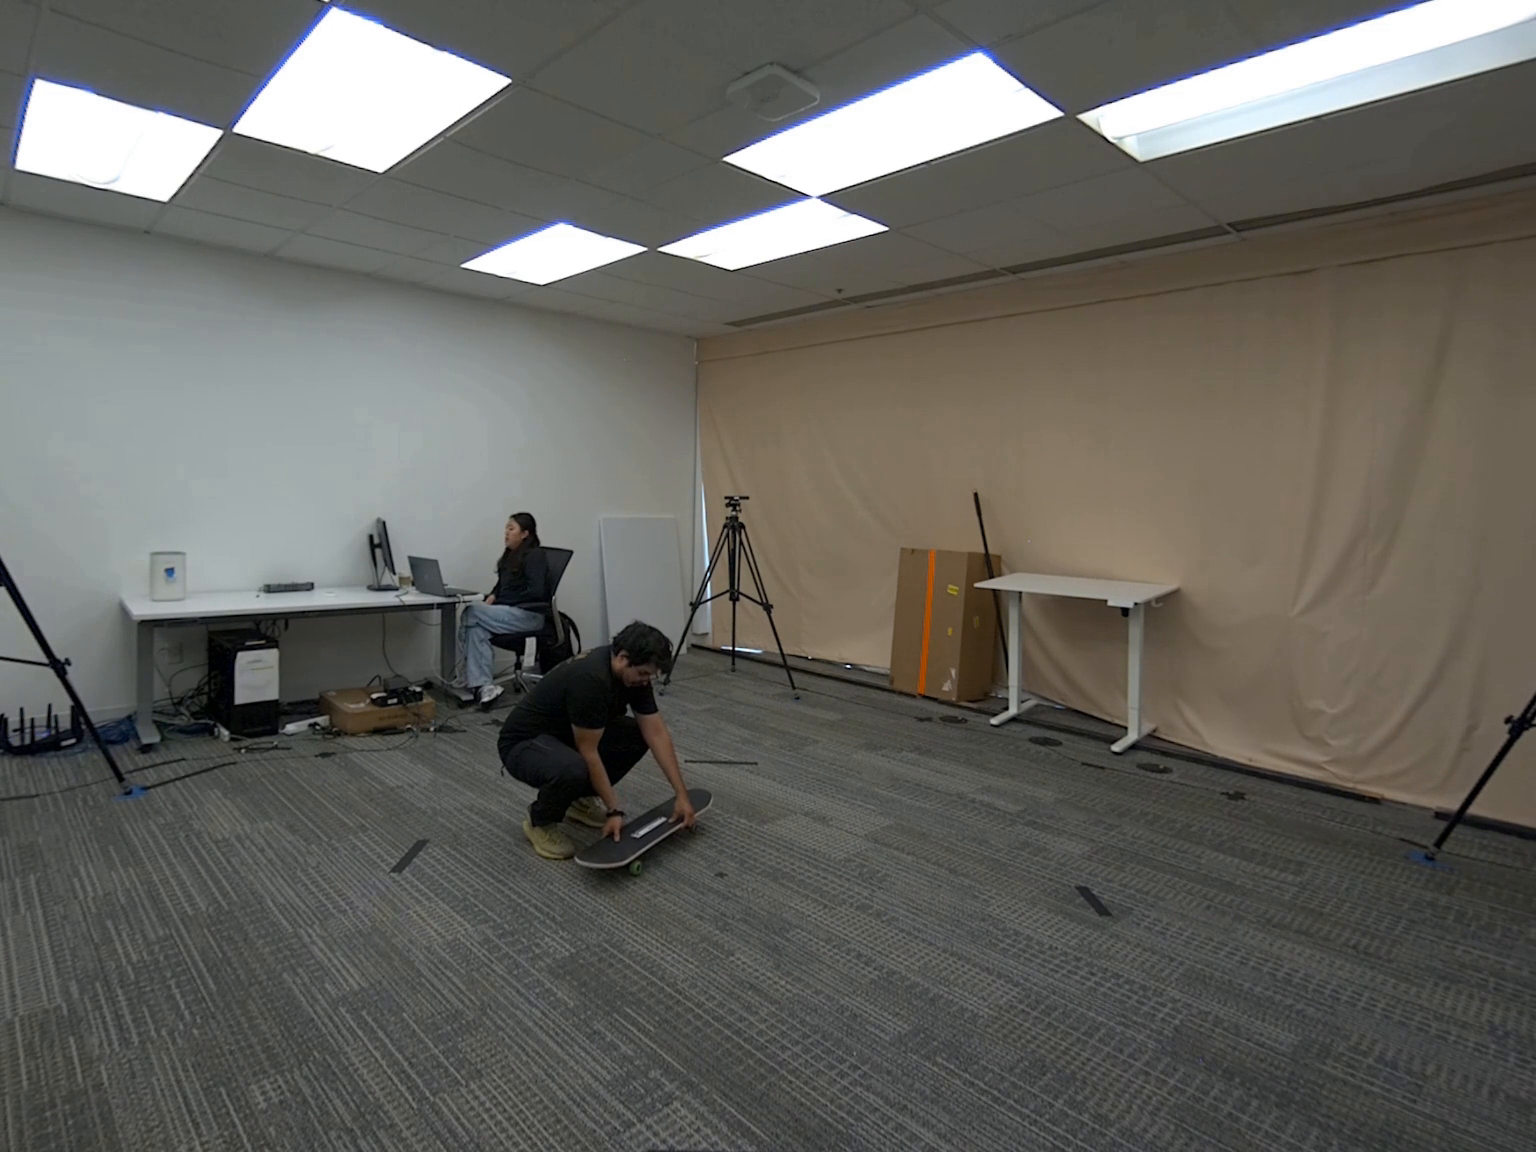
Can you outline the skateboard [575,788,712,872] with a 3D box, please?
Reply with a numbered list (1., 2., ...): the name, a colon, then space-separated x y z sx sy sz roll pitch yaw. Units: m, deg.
1. skateboard: -0.471 1.014 3.285 0.197 0.110 0.773 2 7 25
